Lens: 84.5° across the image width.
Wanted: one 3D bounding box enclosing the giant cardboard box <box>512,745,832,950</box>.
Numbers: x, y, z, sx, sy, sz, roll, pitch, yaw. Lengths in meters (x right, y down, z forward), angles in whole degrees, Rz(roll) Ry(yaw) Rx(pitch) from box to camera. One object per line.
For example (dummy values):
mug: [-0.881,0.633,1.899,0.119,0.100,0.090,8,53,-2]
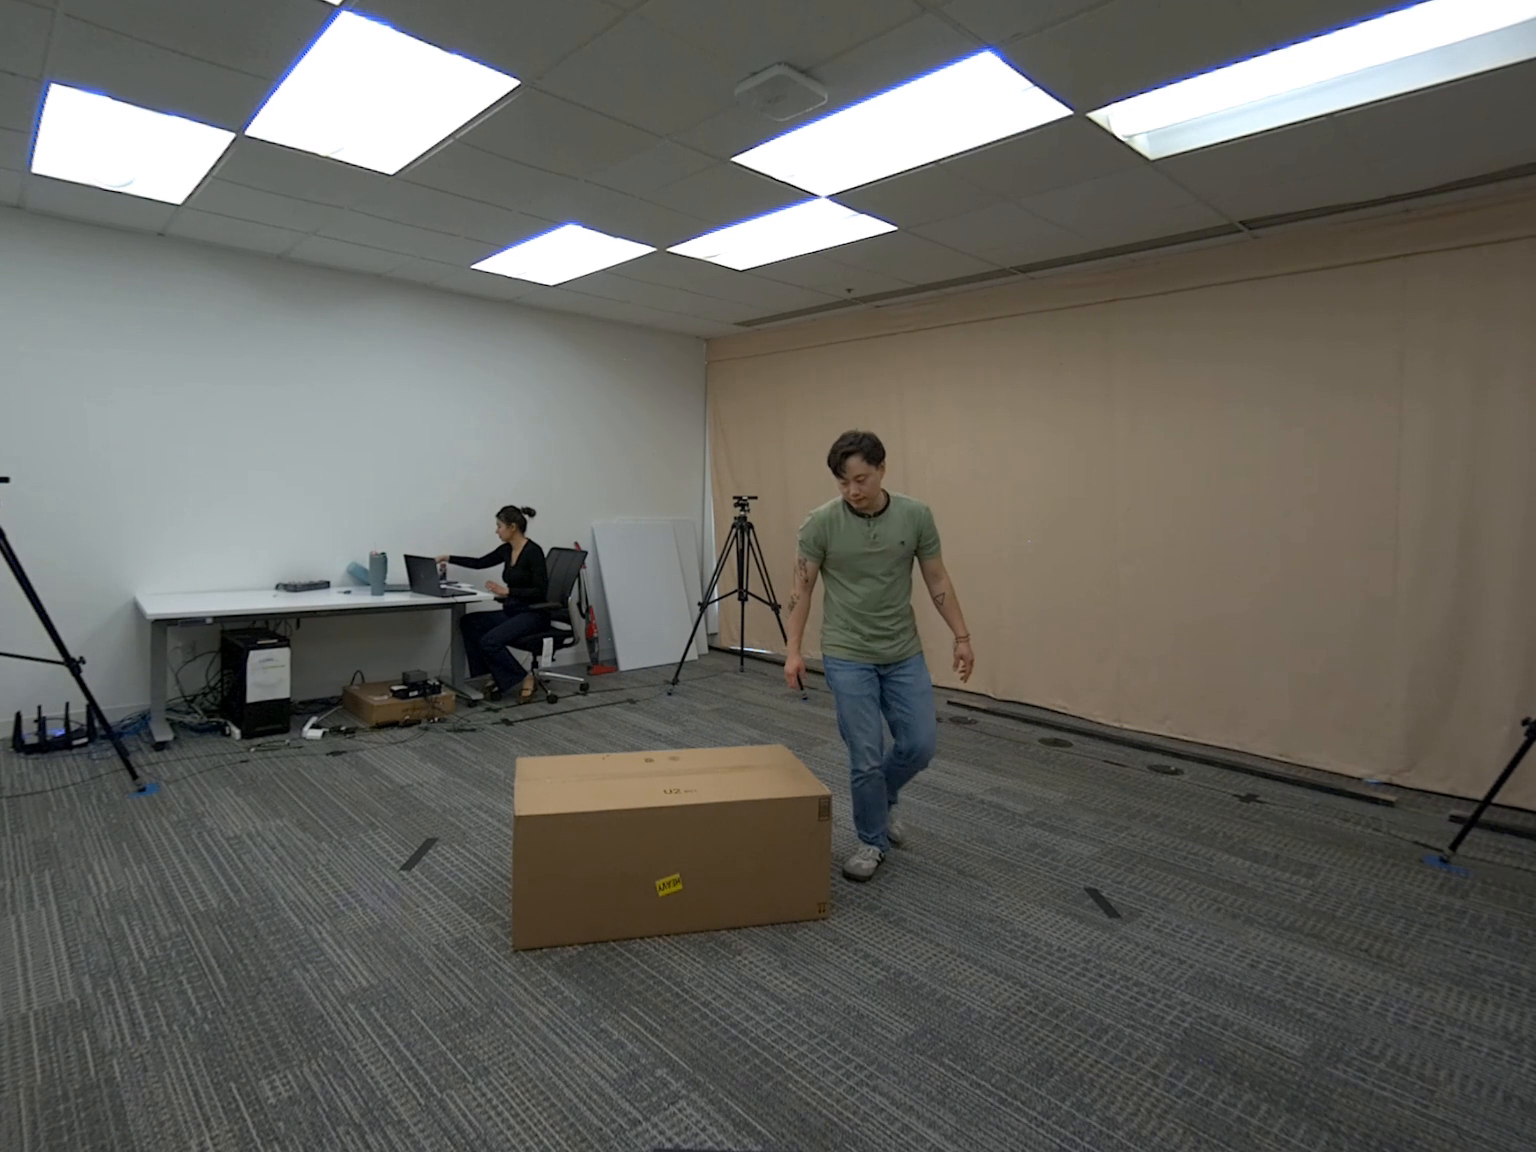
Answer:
giant cardboard box: [-0.364,0.900,2.929,1.014,0.425,0.586,0,5,-15]
